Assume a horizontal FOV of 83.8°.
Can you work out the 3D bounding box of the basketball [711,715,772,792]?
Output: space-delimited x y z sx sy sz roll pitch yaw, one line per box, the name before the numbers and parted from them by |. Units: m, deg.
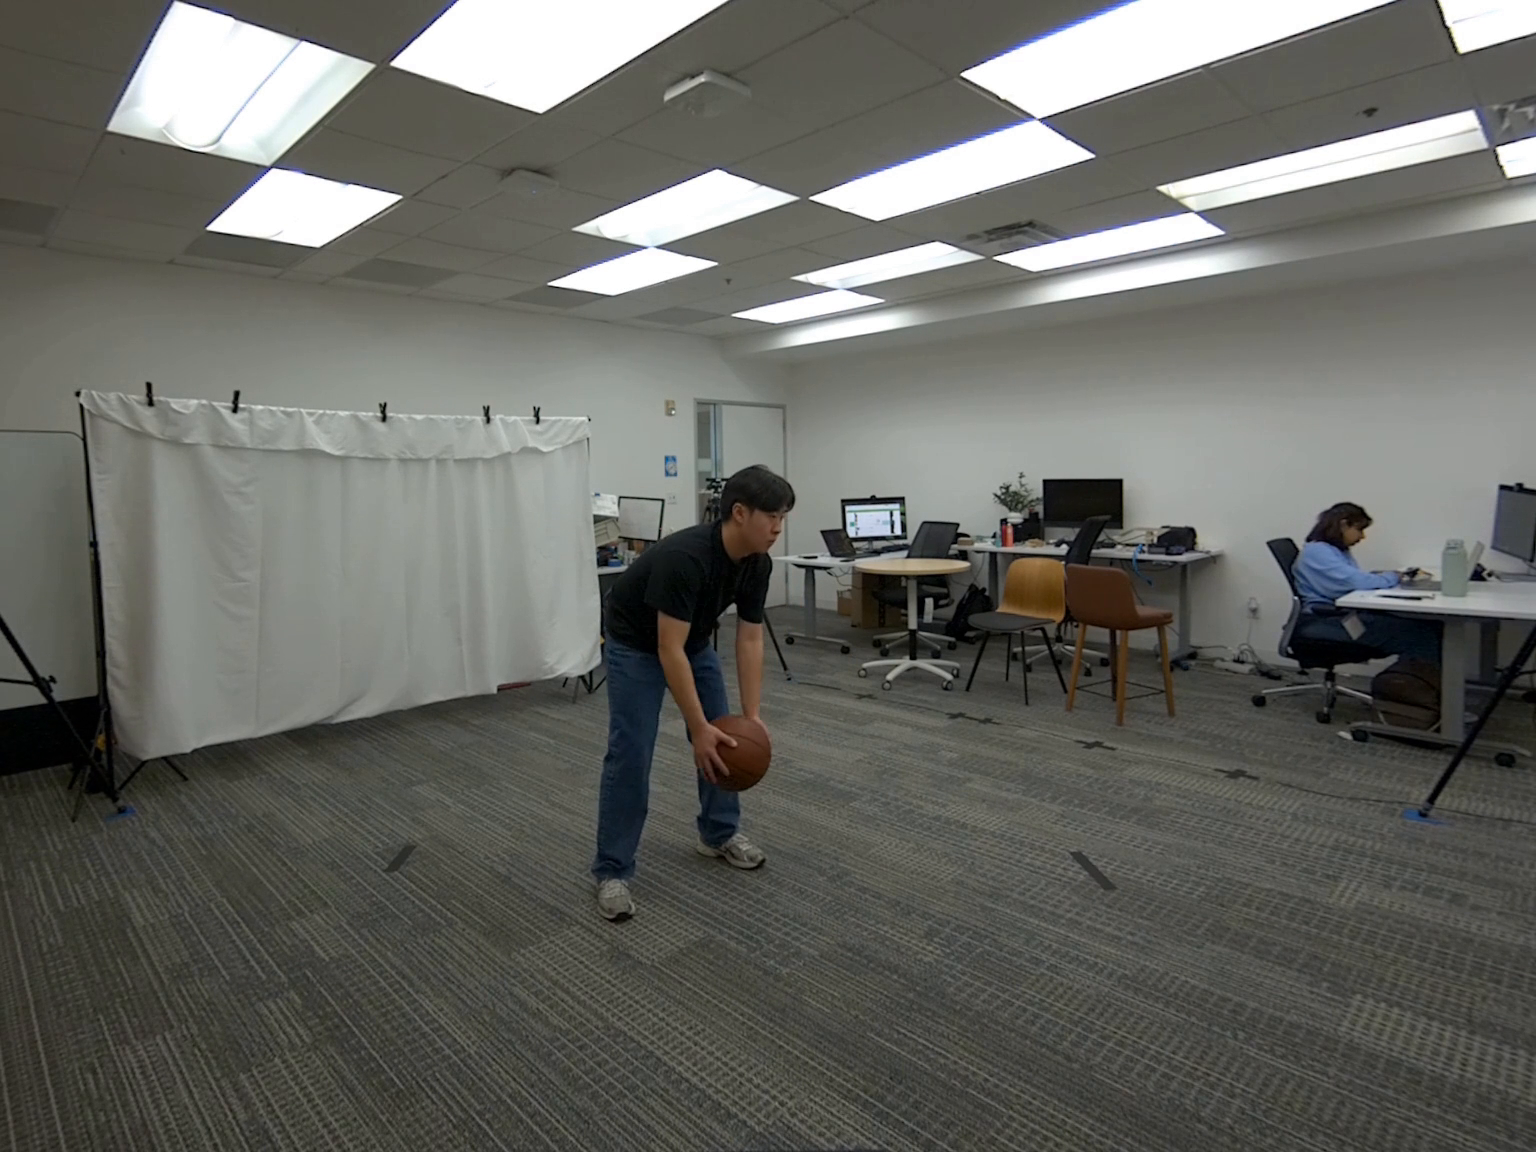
basketball | -0.113 0.547 2.713 0.236 0.235 0.237 -1 5 -2
